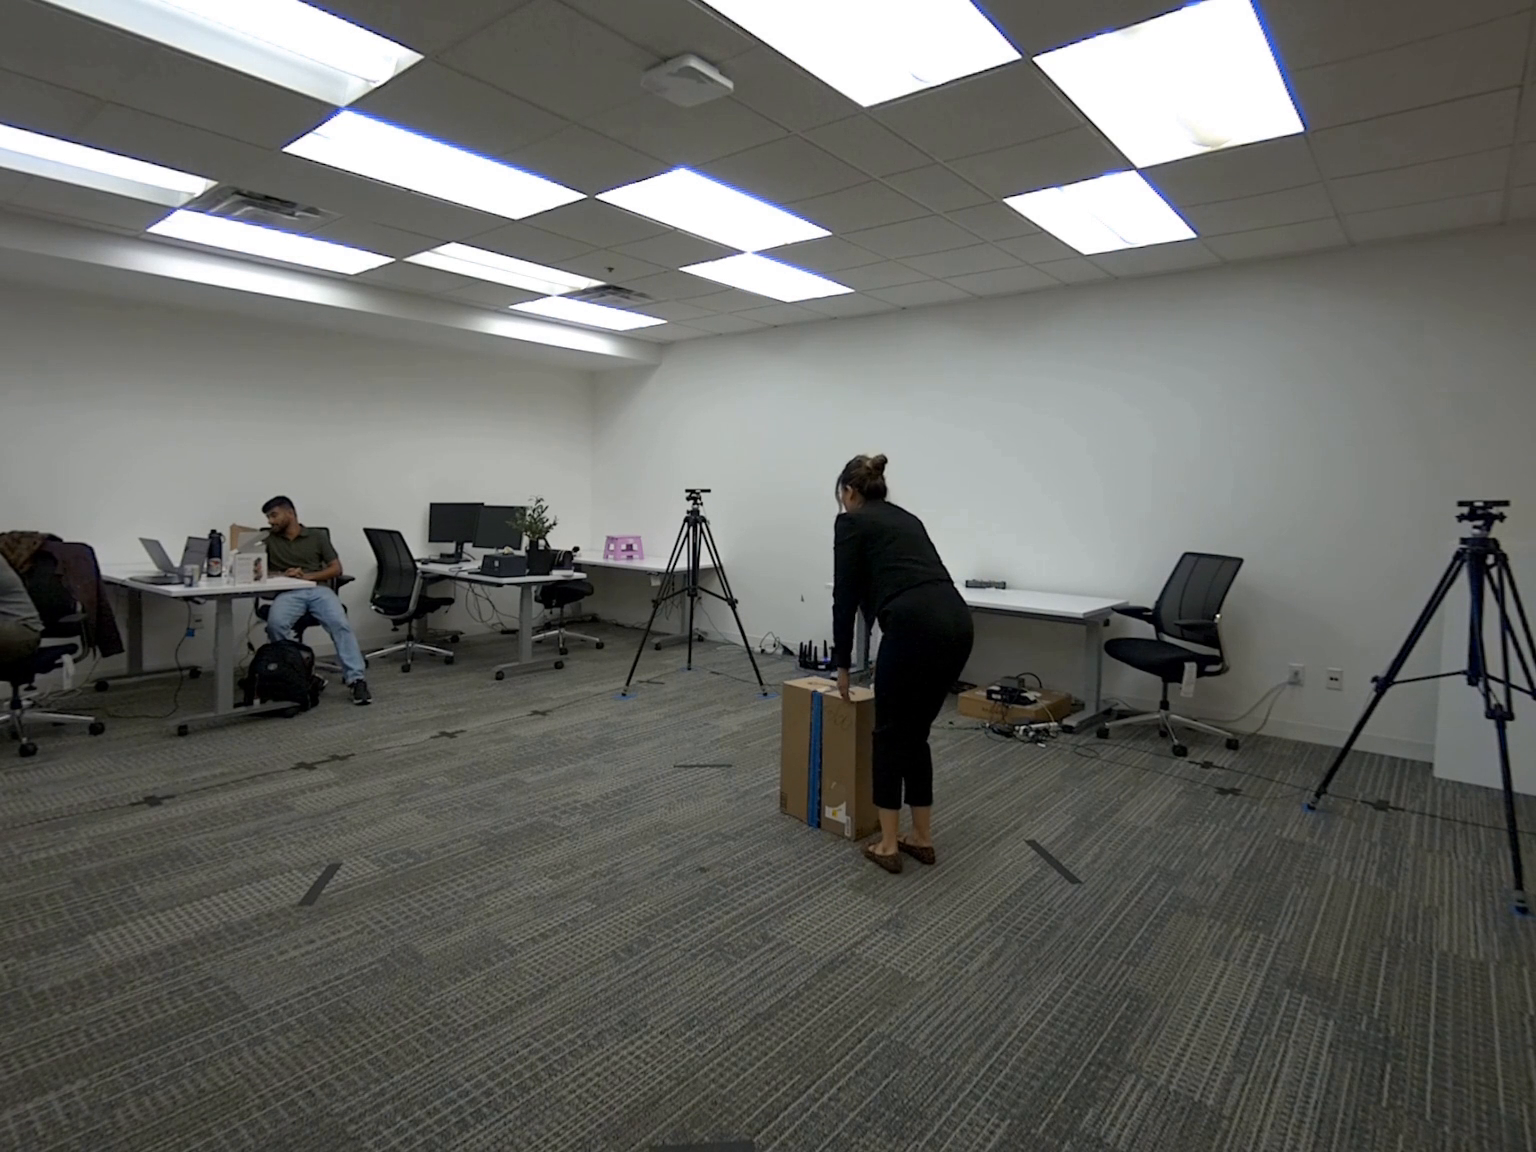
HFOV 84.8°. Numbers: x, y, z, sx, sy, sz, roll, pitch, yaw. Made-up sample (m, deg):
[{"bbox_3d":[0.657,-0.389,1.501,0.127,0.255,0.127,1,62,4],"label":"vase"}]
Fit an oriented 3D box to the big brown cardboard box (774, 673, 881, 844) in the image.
[{"bbox_3d":[0.261,0.756,3.600,0.226,0.588,0.431,-1,3,-43],"label":"big brown cardboard box"}]
